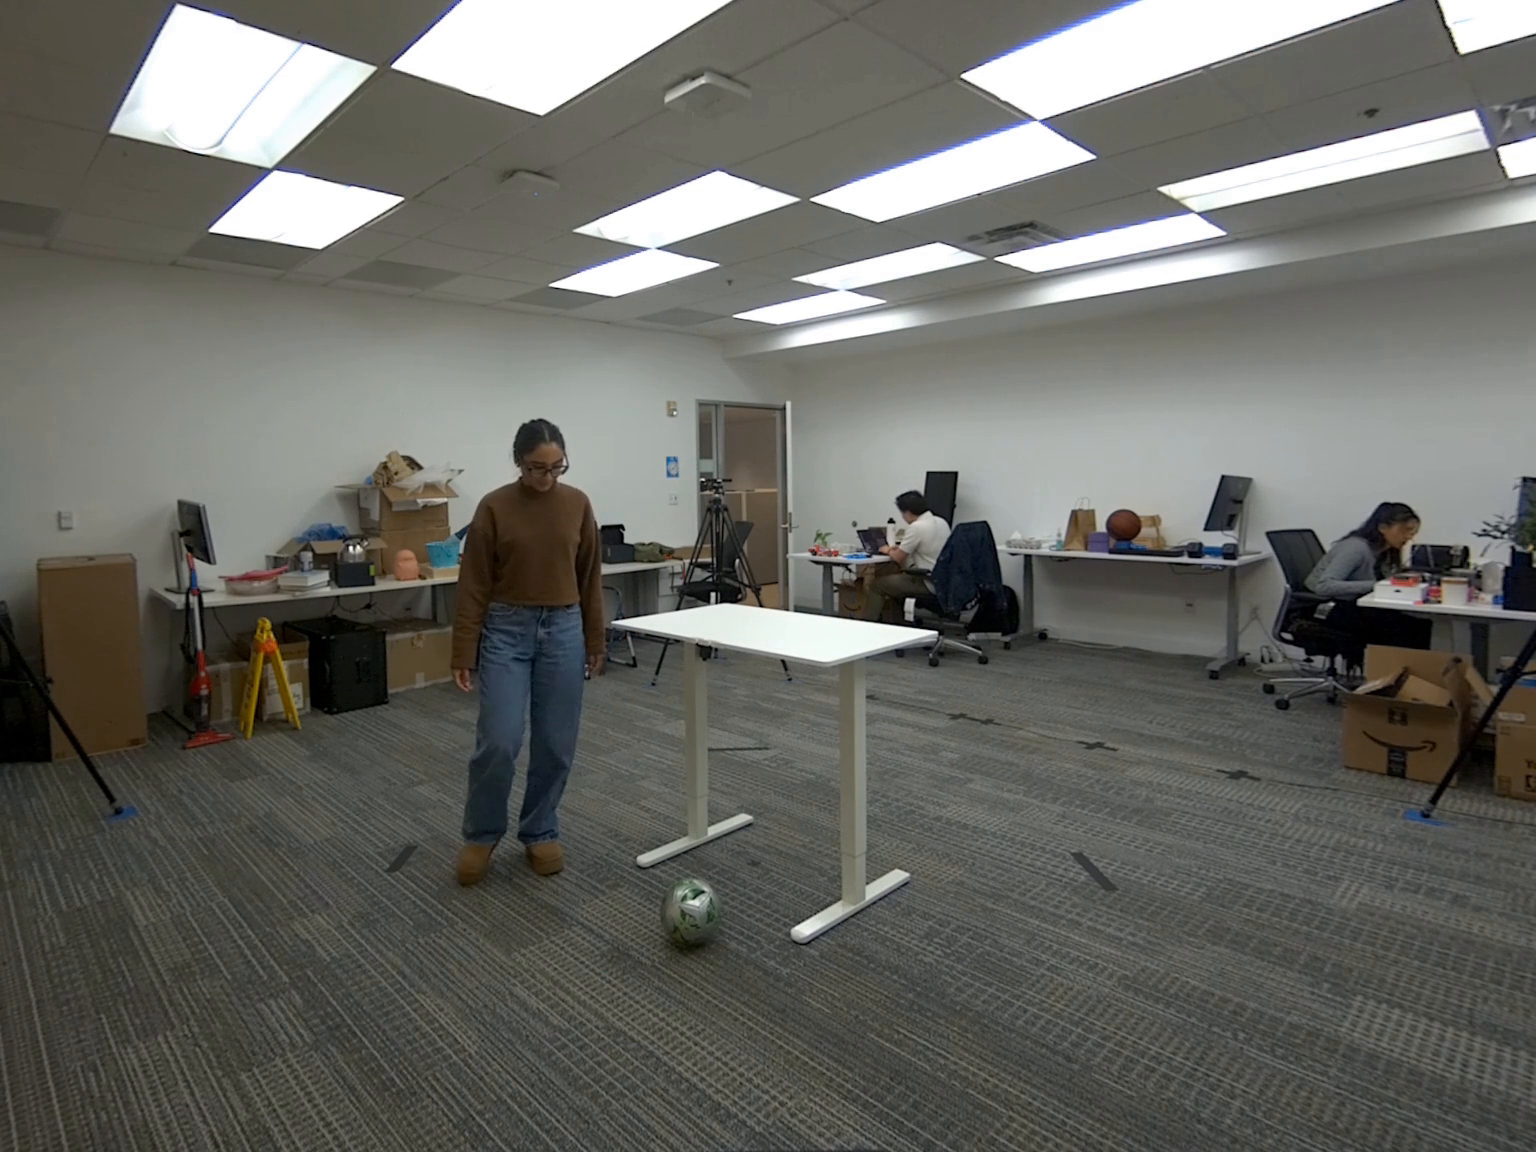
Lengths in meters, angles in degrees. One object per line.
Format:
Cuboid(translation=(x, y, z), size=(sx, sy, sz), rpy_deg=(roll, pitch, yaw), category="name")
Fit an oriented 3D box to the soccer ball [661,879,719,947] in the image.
Cuboid(translation=(-0.231, 1.022, 2.581), size=(0.187, 0.187, 0.188), rpy_deg=(-1, 5, -2), category="soccer ball")
